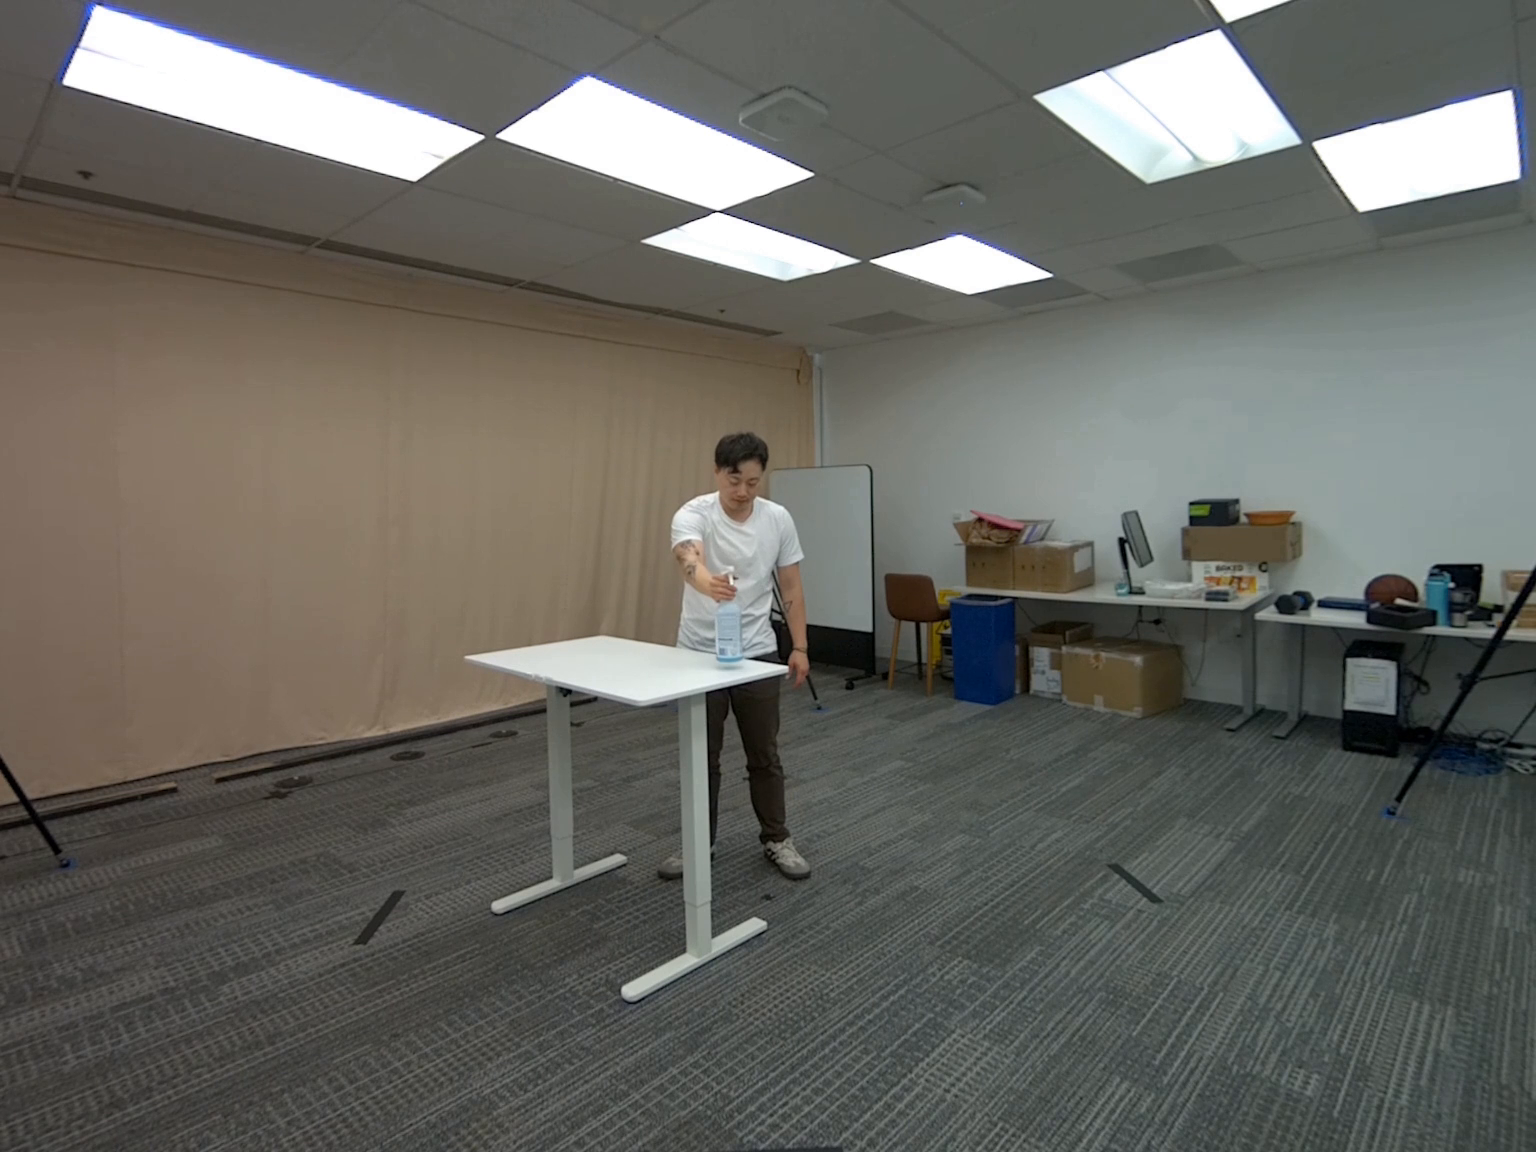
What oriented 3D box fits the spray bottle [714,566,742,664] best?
[{"bbox_3d":[-0.126,0.115,2.625,0.088,0.296,0.089,-1,4,10],"label":"spray bottle"}]
